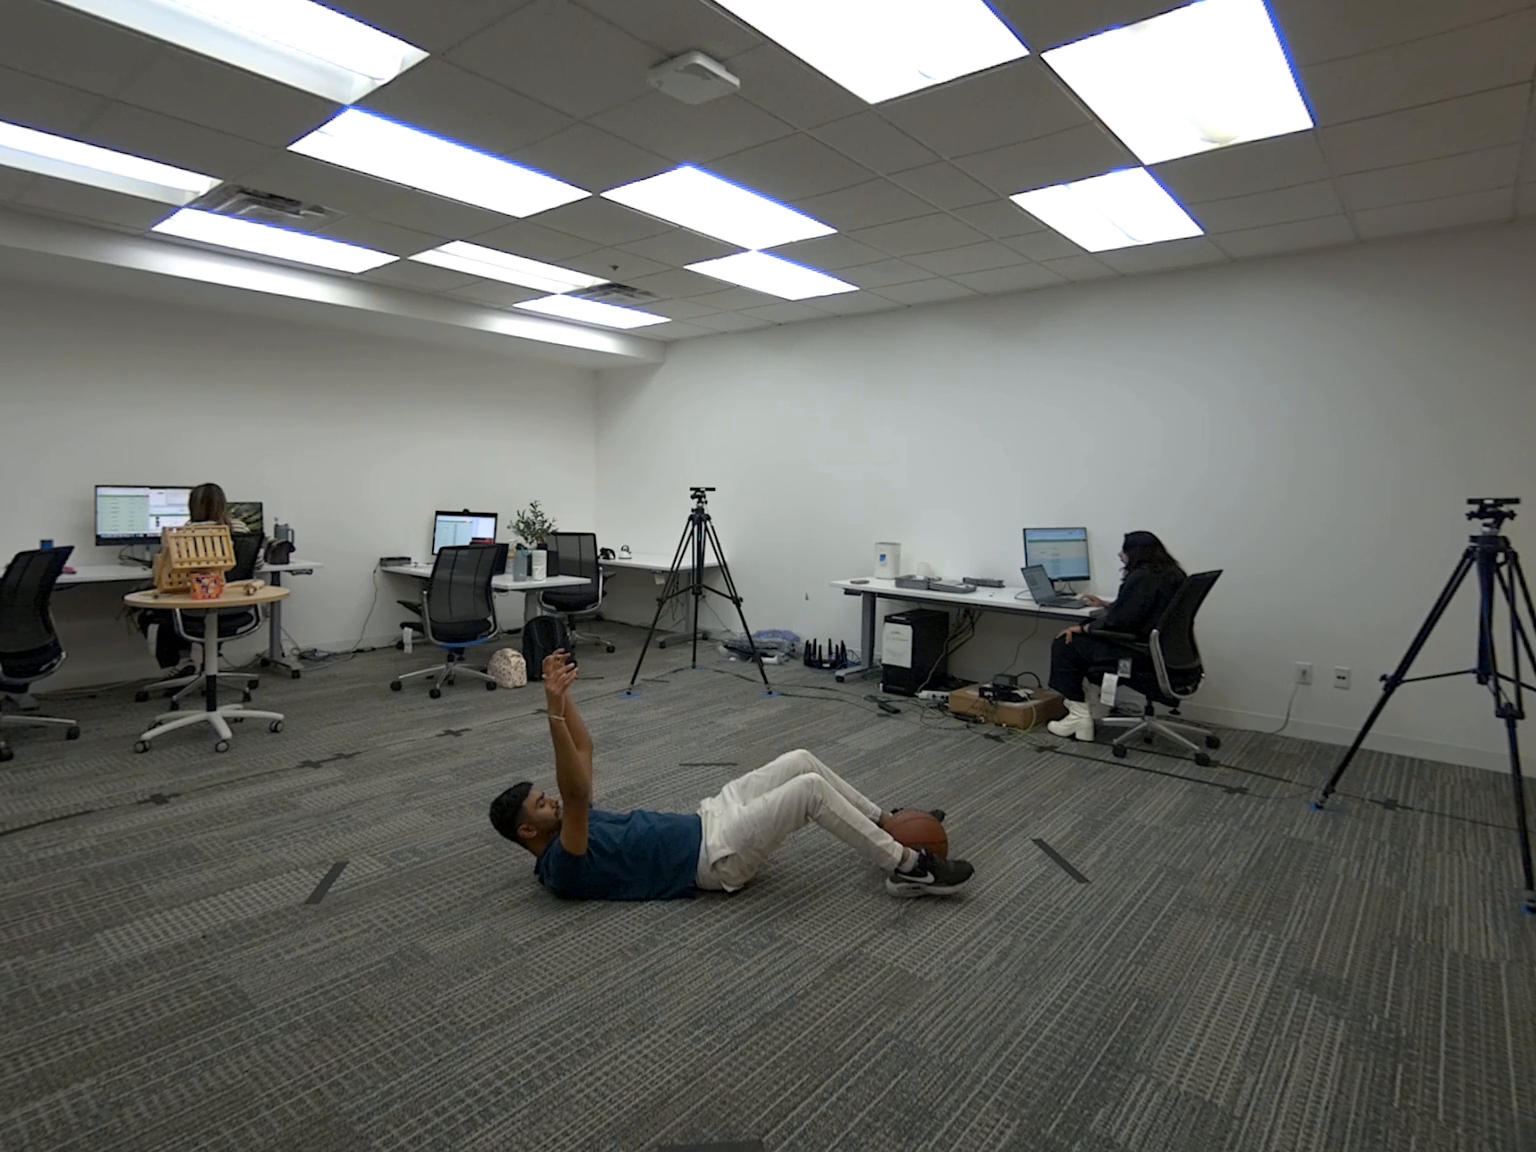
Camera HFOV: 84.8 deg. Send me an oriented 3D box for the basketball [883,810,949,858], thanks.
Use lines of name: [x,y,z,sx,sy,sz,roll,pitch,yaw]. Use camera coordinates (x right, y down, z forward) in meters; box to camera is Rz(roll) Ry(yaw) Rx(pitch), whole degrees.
basketball: [0.524,0.962,3.101,0.235,0.235,0.237,1,4,-2]
